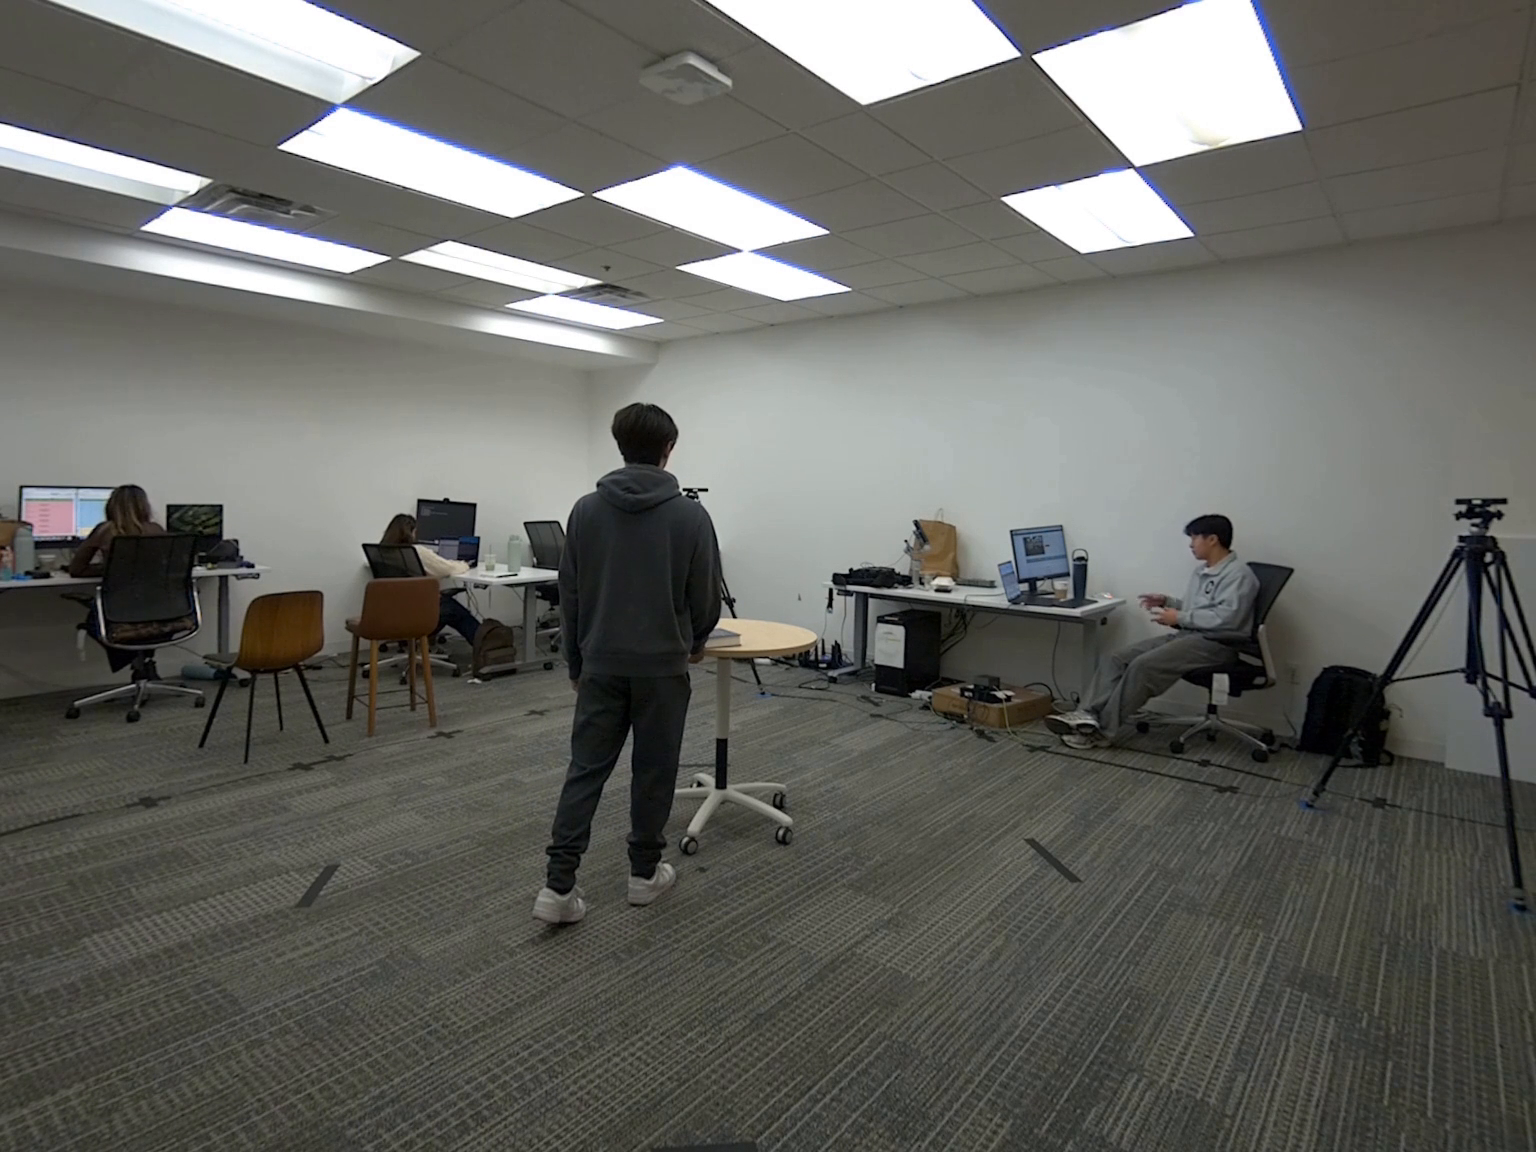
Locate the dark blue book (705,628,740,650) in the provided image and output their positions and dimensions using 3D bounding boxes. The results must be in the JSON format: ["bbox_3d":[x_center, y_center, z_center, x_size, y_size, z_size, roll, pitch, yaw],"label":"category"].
[{"bbox_3d":[-0.247,0.239,3.256,0.238,0.045,0.168,-2,7,-31],"label":"dark blue book"}]
